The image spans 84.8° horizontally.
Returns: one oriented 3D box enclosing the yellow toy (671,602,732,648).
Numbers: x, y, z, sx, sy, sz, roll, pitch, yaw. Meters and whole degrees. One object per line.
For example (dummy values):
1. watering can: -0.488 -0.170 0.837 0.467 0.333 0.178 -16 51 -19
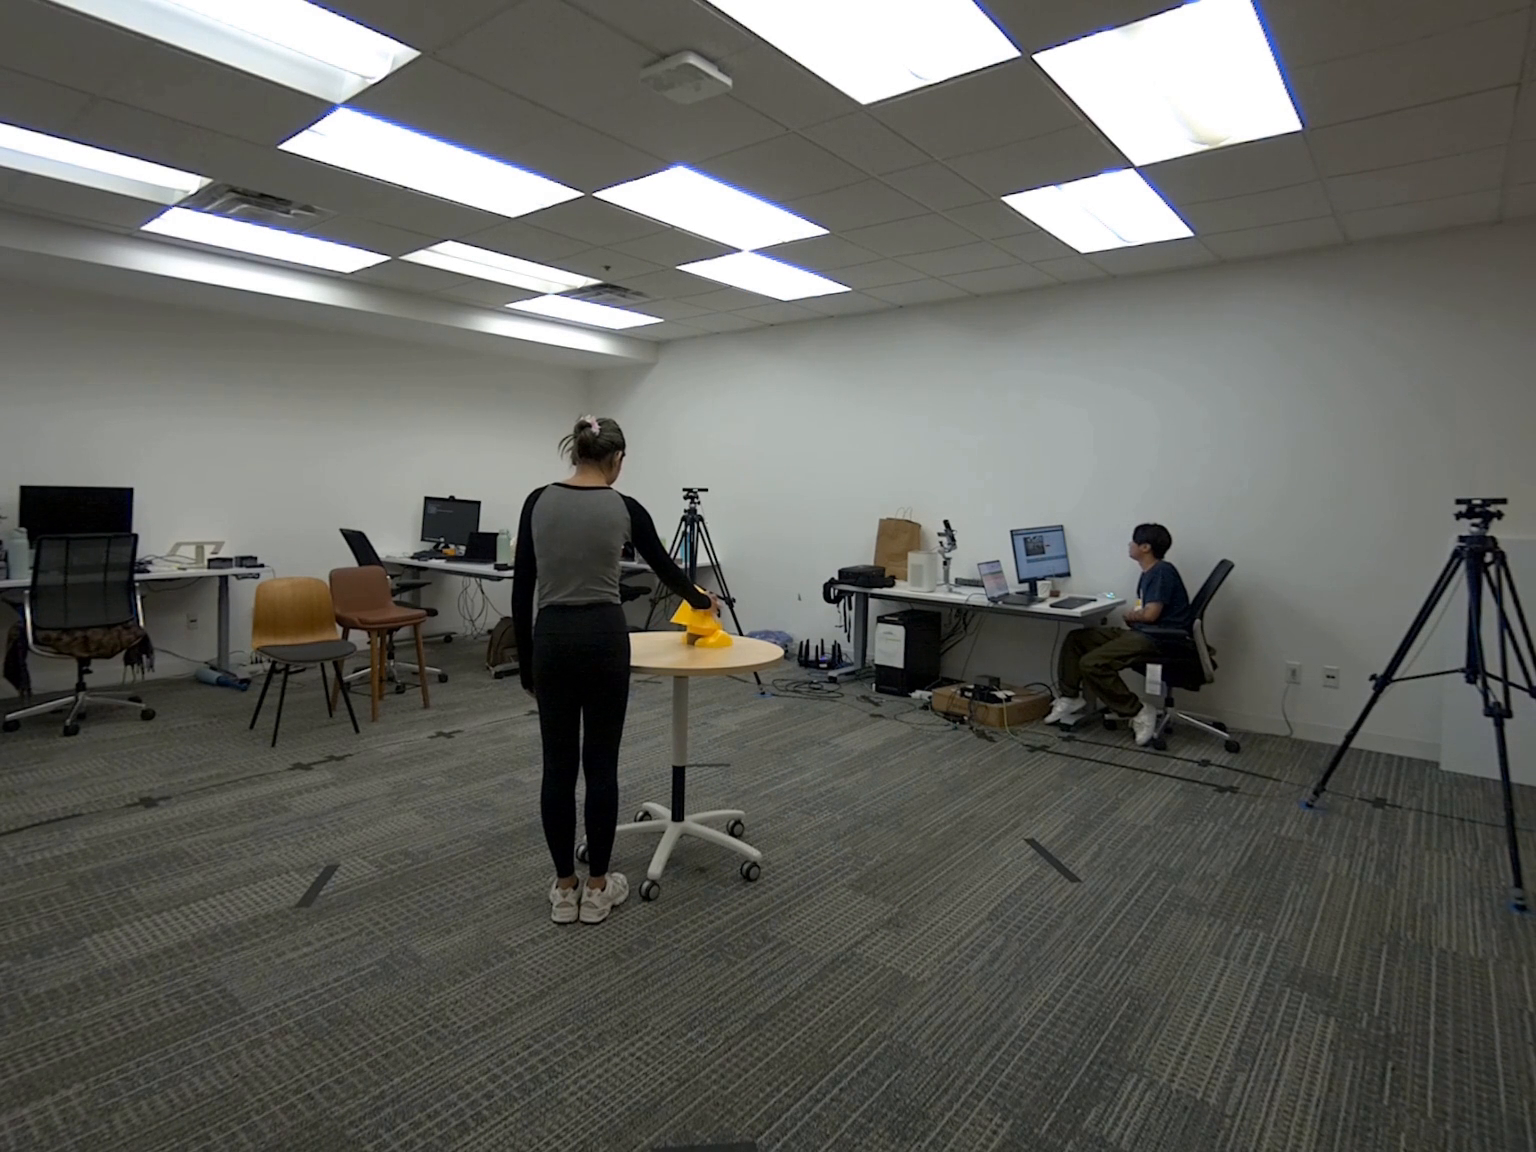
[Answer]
1. yellow toy: -0.261 0.145 3.302 0.187 0.230 0.212 -1 4 -44
